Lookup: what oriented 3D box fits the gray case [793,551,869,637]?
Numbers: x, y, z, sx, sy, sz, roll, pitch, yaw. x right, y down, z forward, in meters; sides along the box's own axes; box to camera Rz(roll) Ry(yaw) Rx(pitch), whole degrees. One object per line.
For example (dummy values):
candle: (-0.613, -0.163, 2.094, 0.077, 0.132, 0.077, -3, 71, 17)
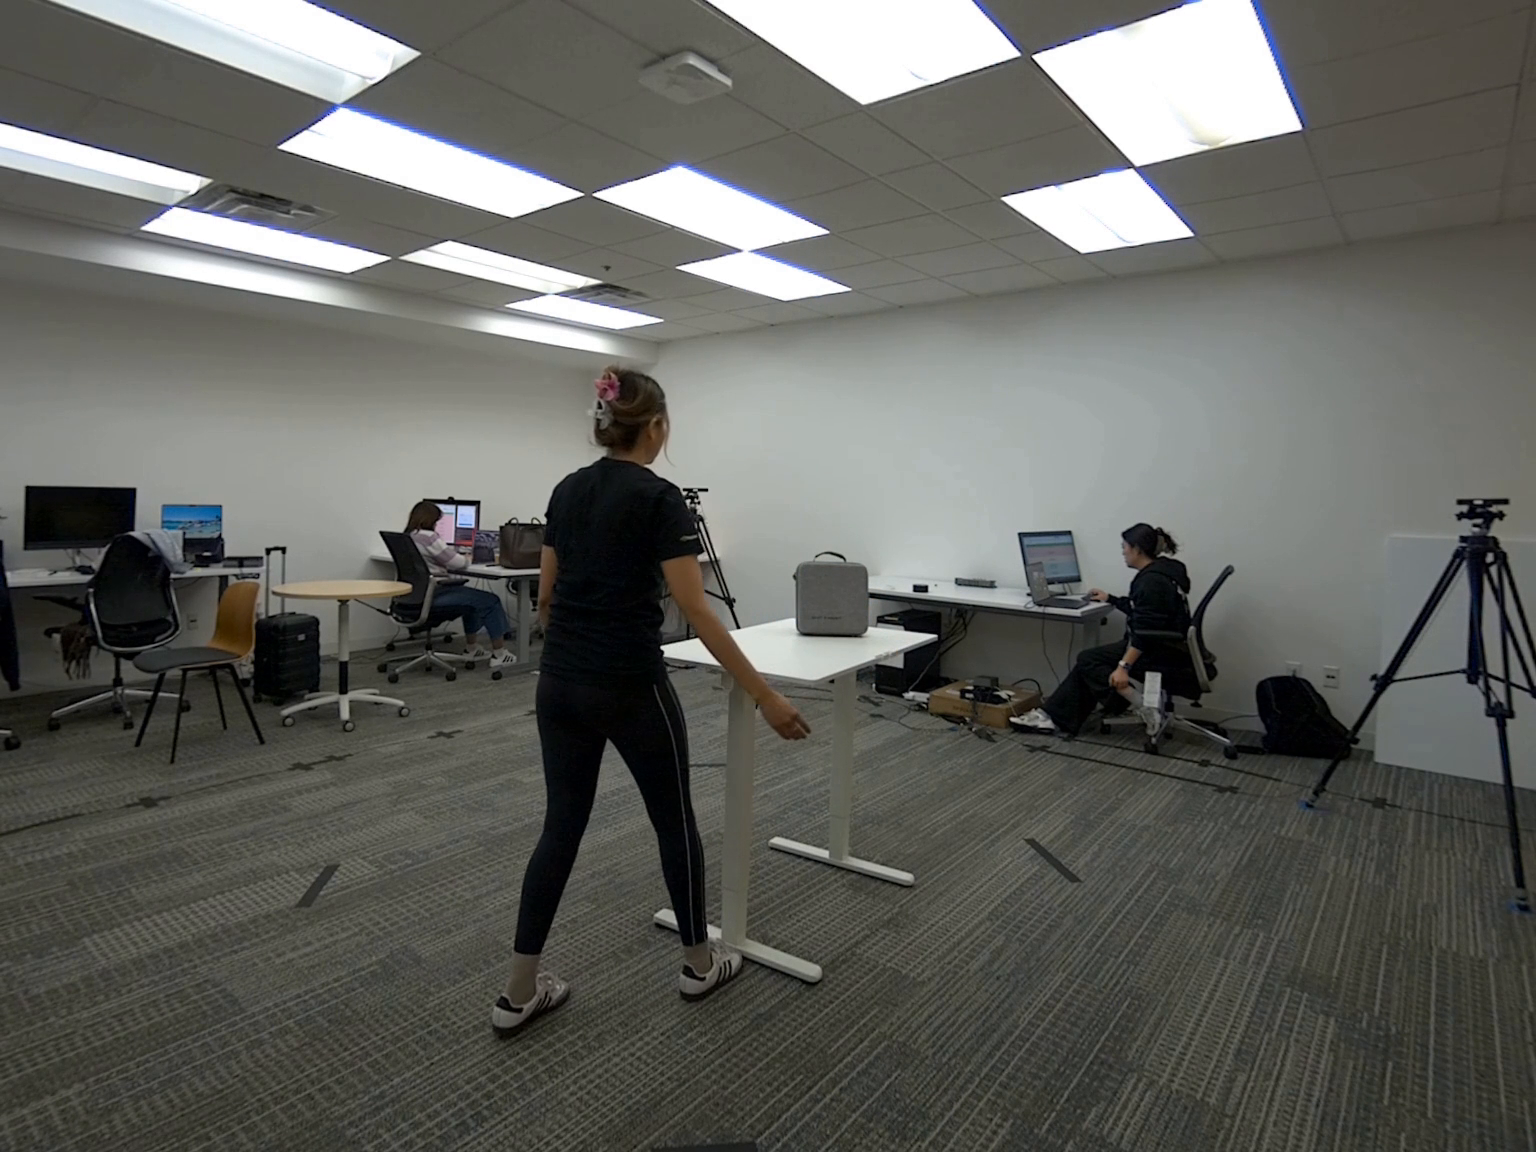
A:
gray case: (0.212, 0.070, 3.041, 0.255, 0.262, 0.104, 3, -7, -6)
